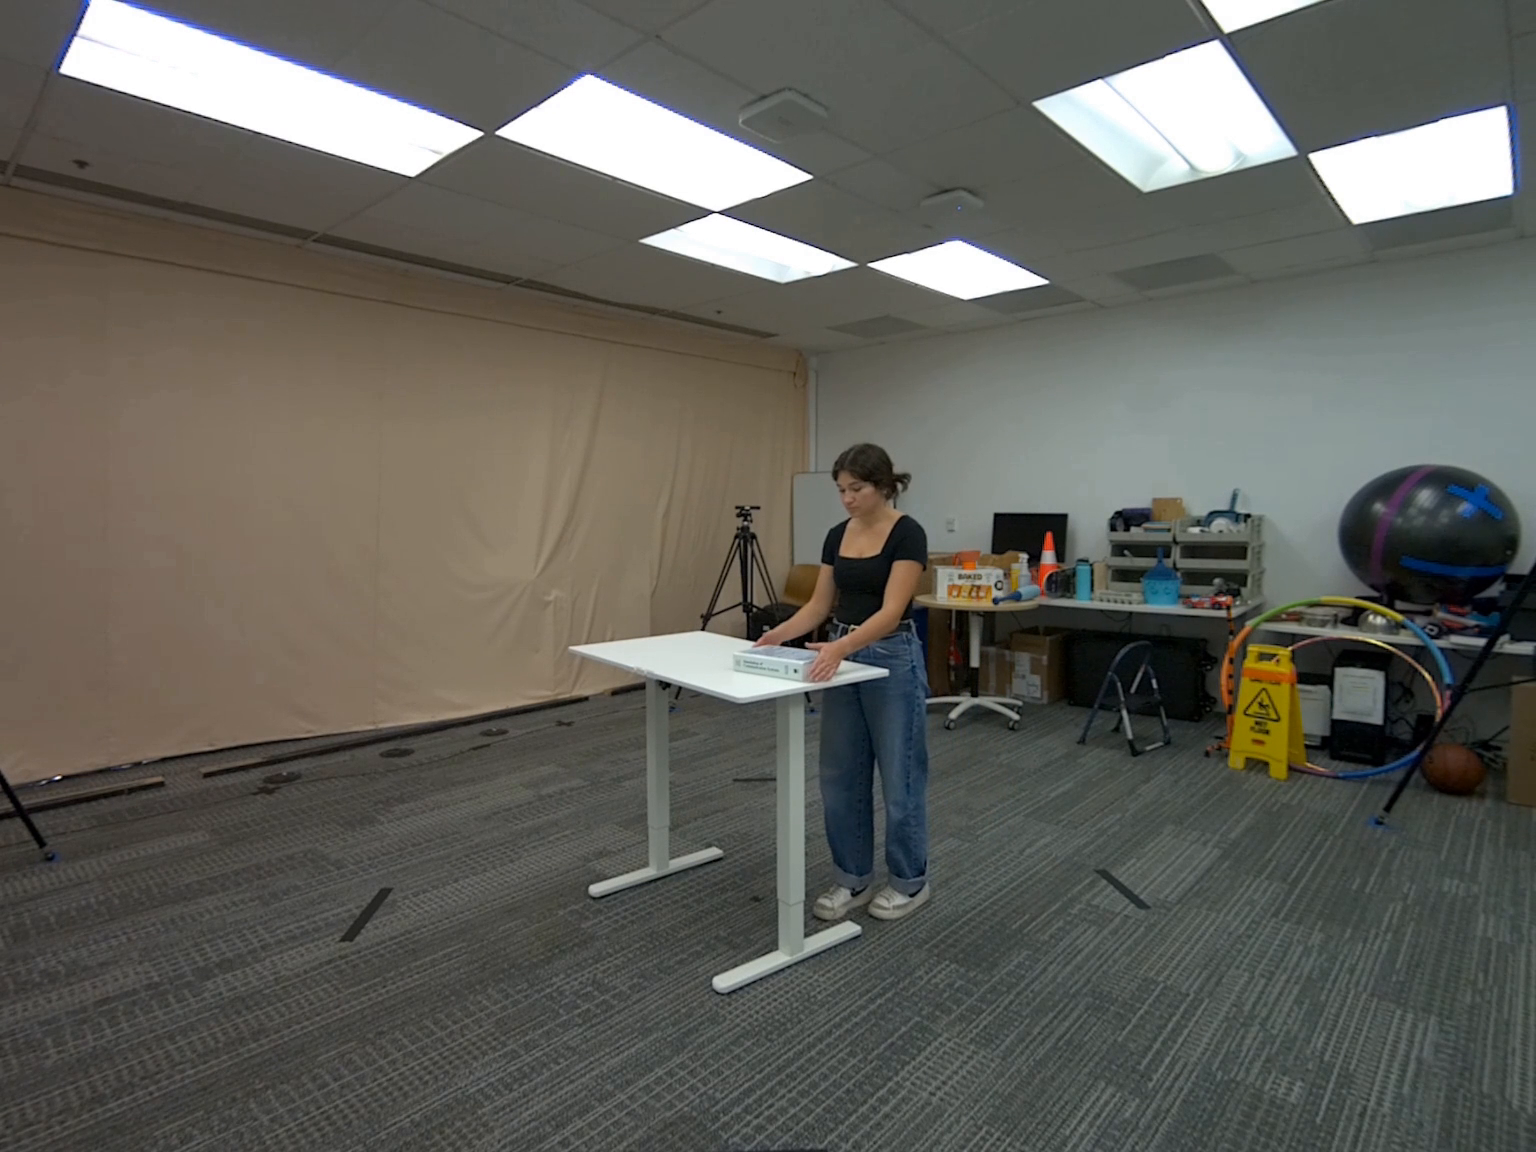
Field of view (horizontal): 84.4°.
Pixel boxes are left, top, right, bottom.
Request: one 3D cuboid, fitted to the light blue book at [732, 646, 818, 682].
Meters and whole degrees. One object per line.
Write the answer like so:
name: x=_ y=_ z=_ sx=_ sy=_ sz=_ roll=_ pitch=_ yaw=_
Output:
light blue book: x=0.053 y=0.269 z=2.601 sx=0.269 sy=0.059 sz=0.186 roll=6 pitch=7 yaw=37
